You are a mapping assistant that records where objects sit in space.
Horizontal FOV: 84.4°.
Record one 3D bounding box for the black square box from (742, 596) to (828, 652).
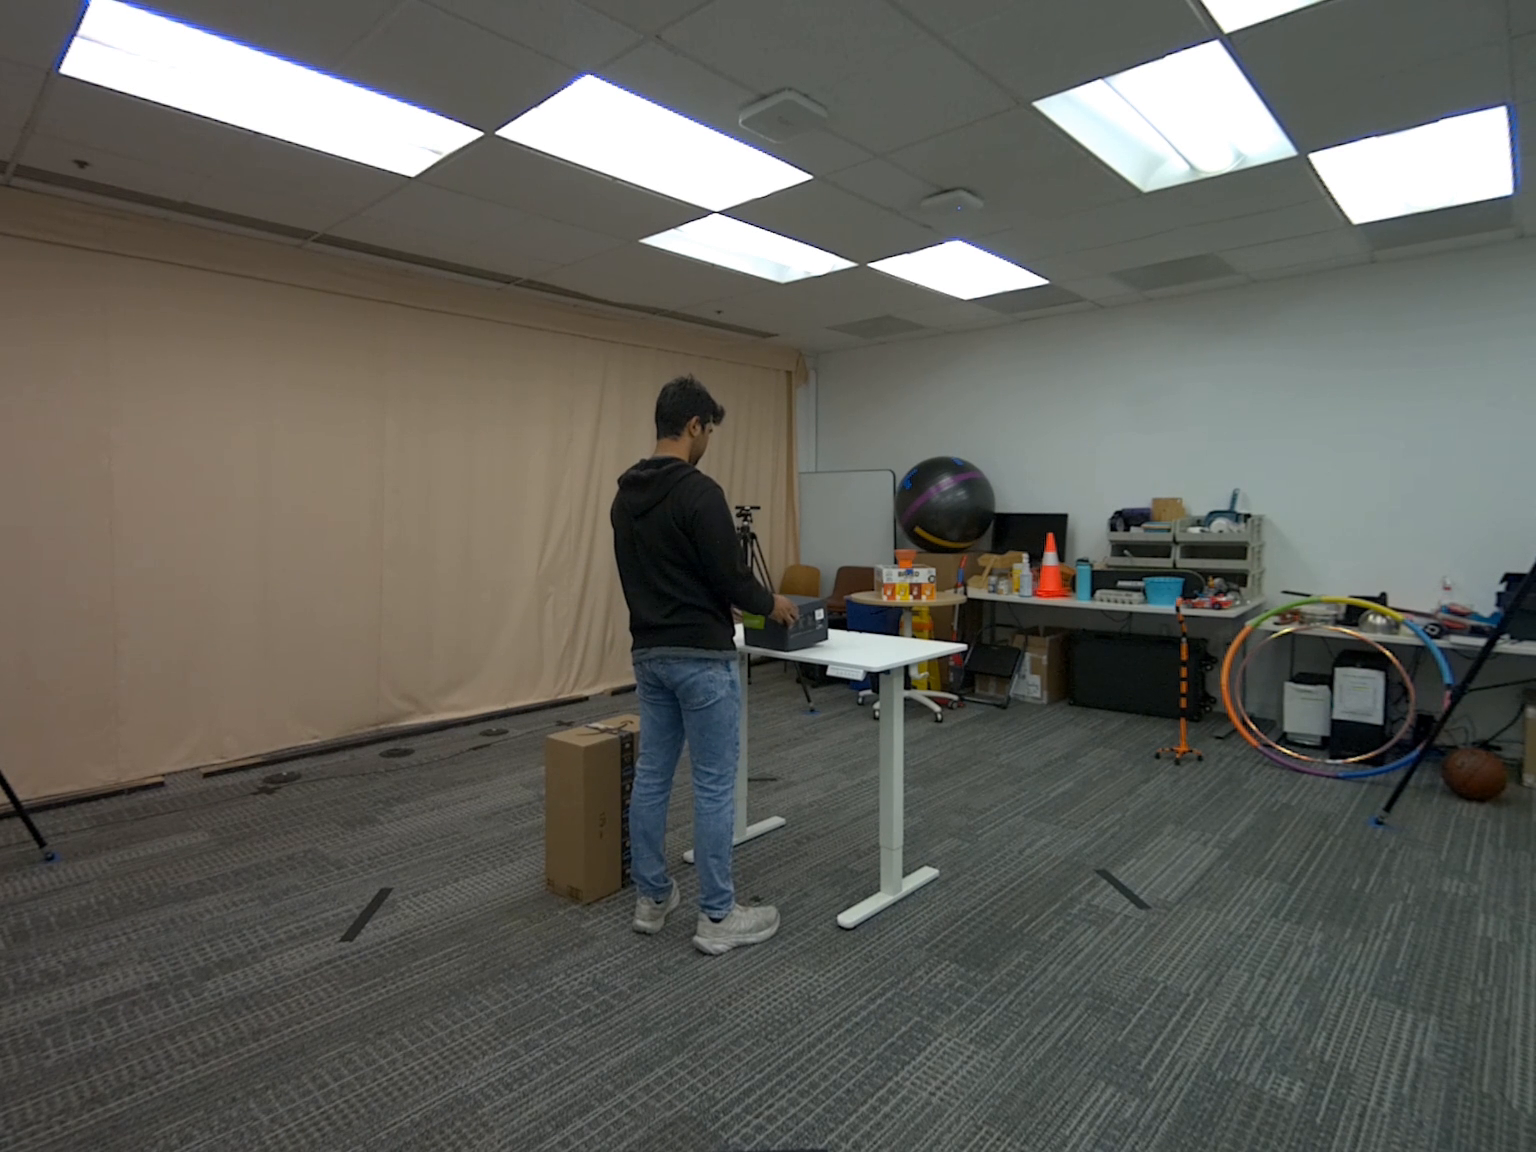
[{"bbox_3d":[0.065,0.163,3.069,0.211,0.155,0.235,-11,10,-41],"label":"black square box"}]
